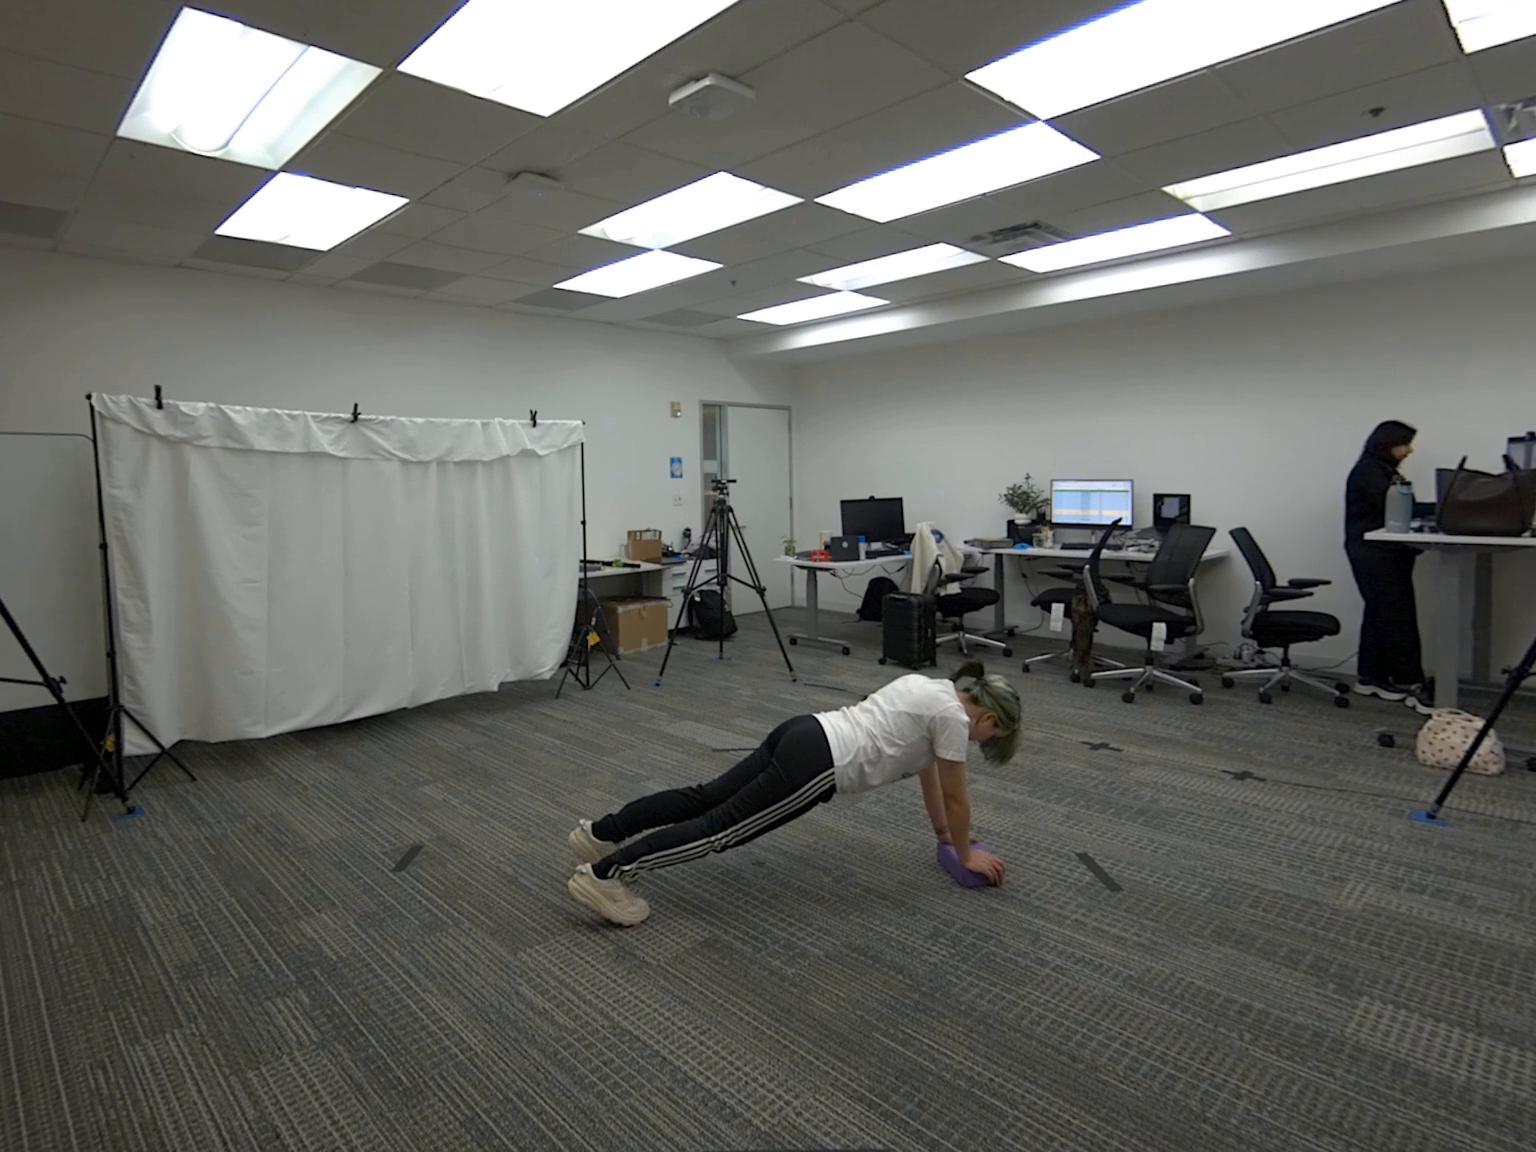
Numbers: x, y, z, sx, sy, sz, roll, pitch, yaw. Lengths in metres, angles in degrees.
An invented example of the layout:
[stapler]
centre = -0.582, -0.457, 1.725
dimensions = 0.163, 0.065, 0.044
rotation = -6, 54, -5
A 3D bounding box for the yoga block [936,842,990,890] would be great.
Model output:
[yoga block]
centre = 0.705, 1.006, 3.008
dimensions = 0.148, 0.076, 0.232
rotation = -1, 5, -10
